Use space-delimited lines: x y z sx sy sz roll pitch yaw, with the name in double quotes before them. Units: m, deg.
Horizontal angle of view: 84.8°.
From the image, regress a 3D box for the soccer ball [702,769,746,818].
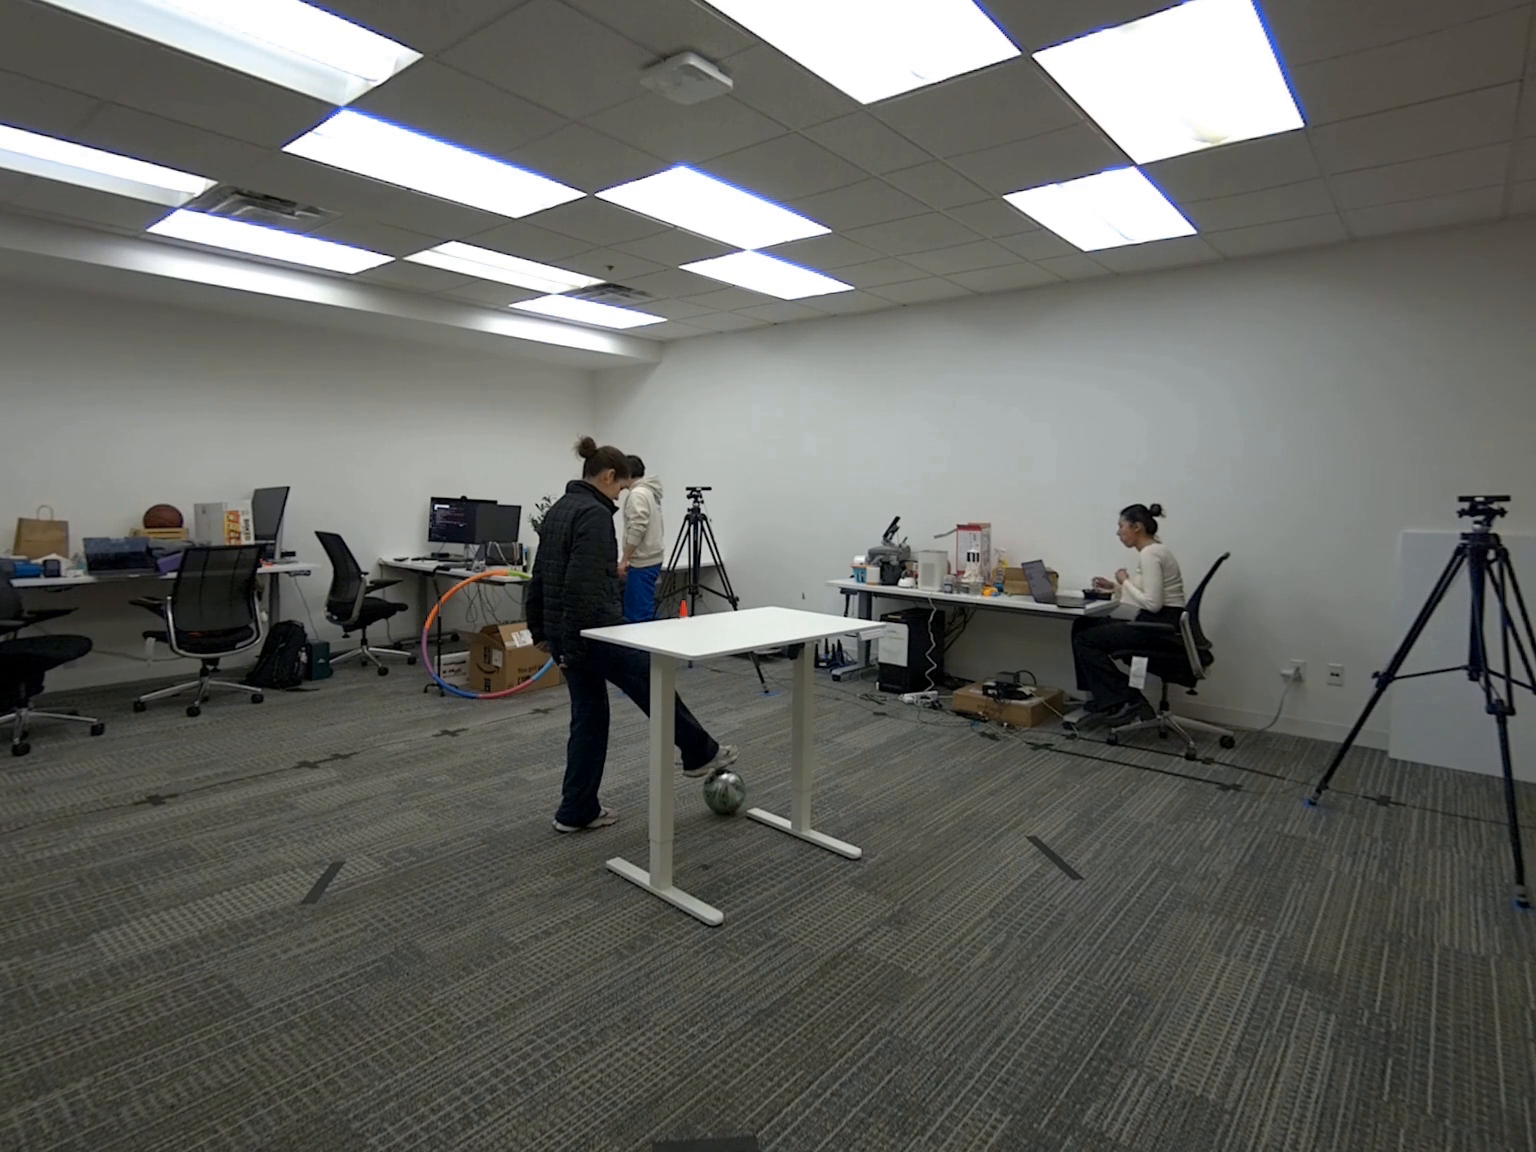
"soccer ball" -0.202 0.928 3.638 0.187 0.187 0.188 1 4 -2
